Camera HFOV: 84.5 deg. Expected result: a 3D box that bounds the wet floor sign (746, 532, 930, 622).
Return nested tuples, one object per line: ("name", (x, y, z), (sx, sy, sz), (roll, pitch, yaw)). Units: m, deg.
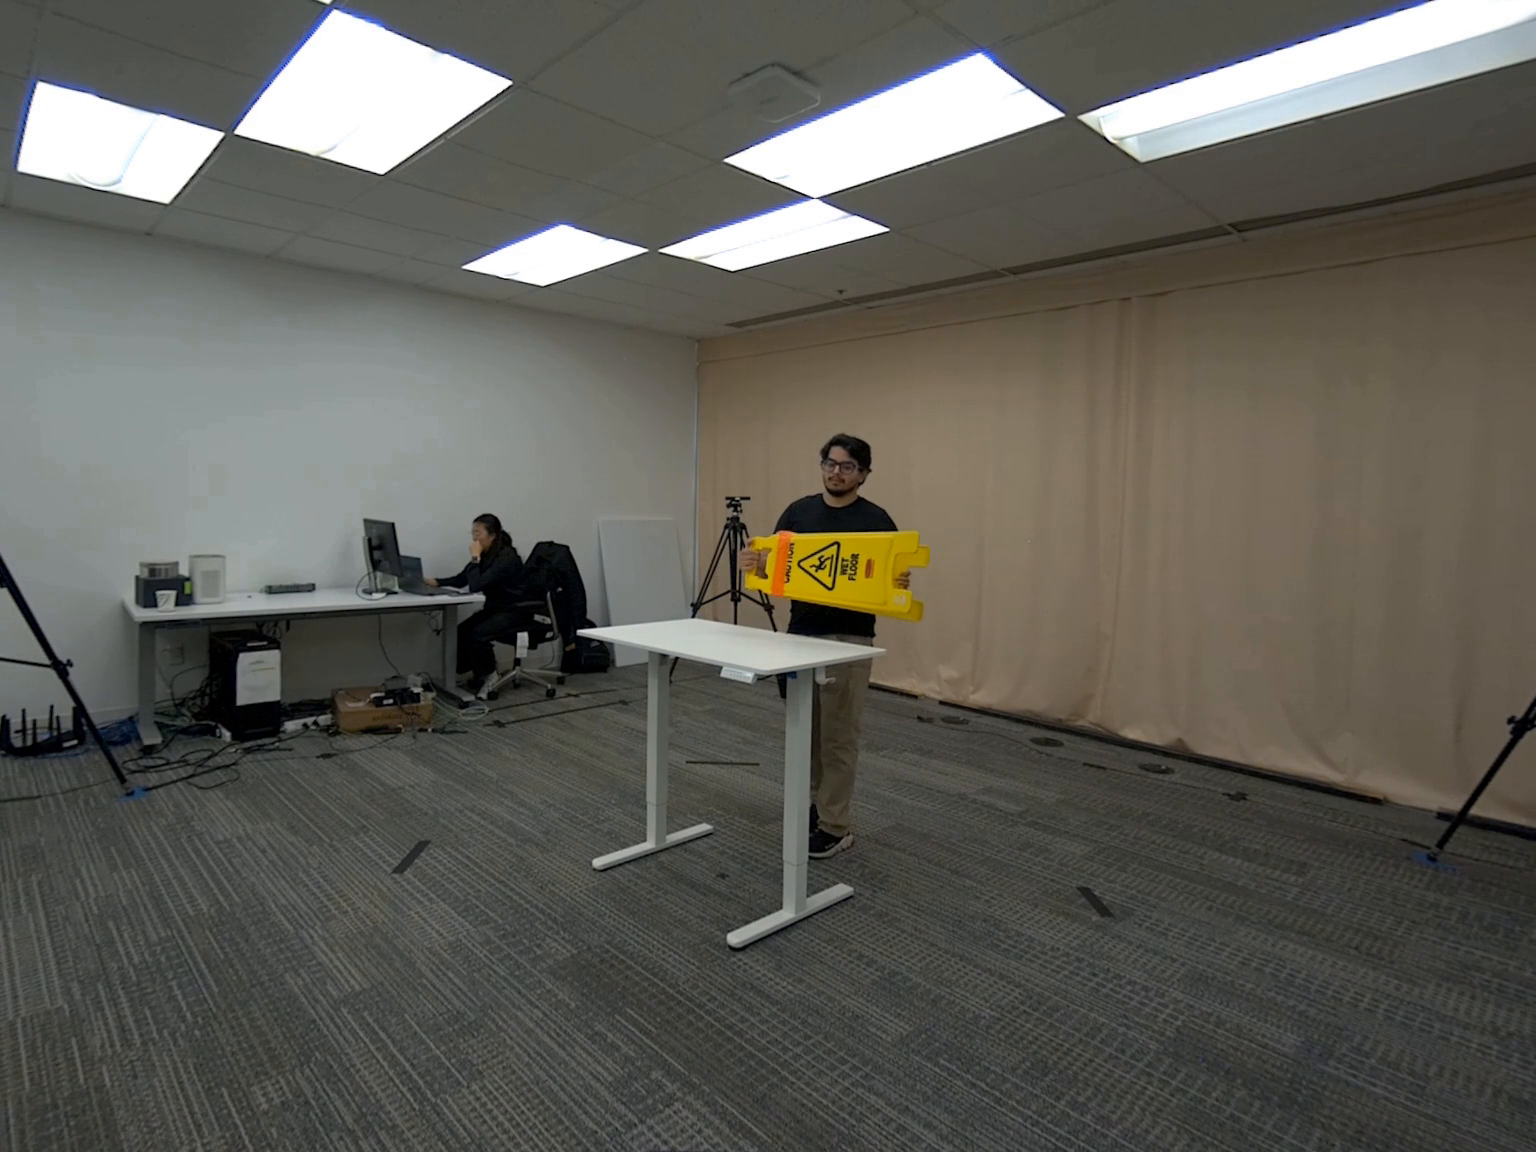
("wet floor sign", (0.215, -0.017, 3.057), (0.657, 0.284, 0.283), (6, -9, 21))
